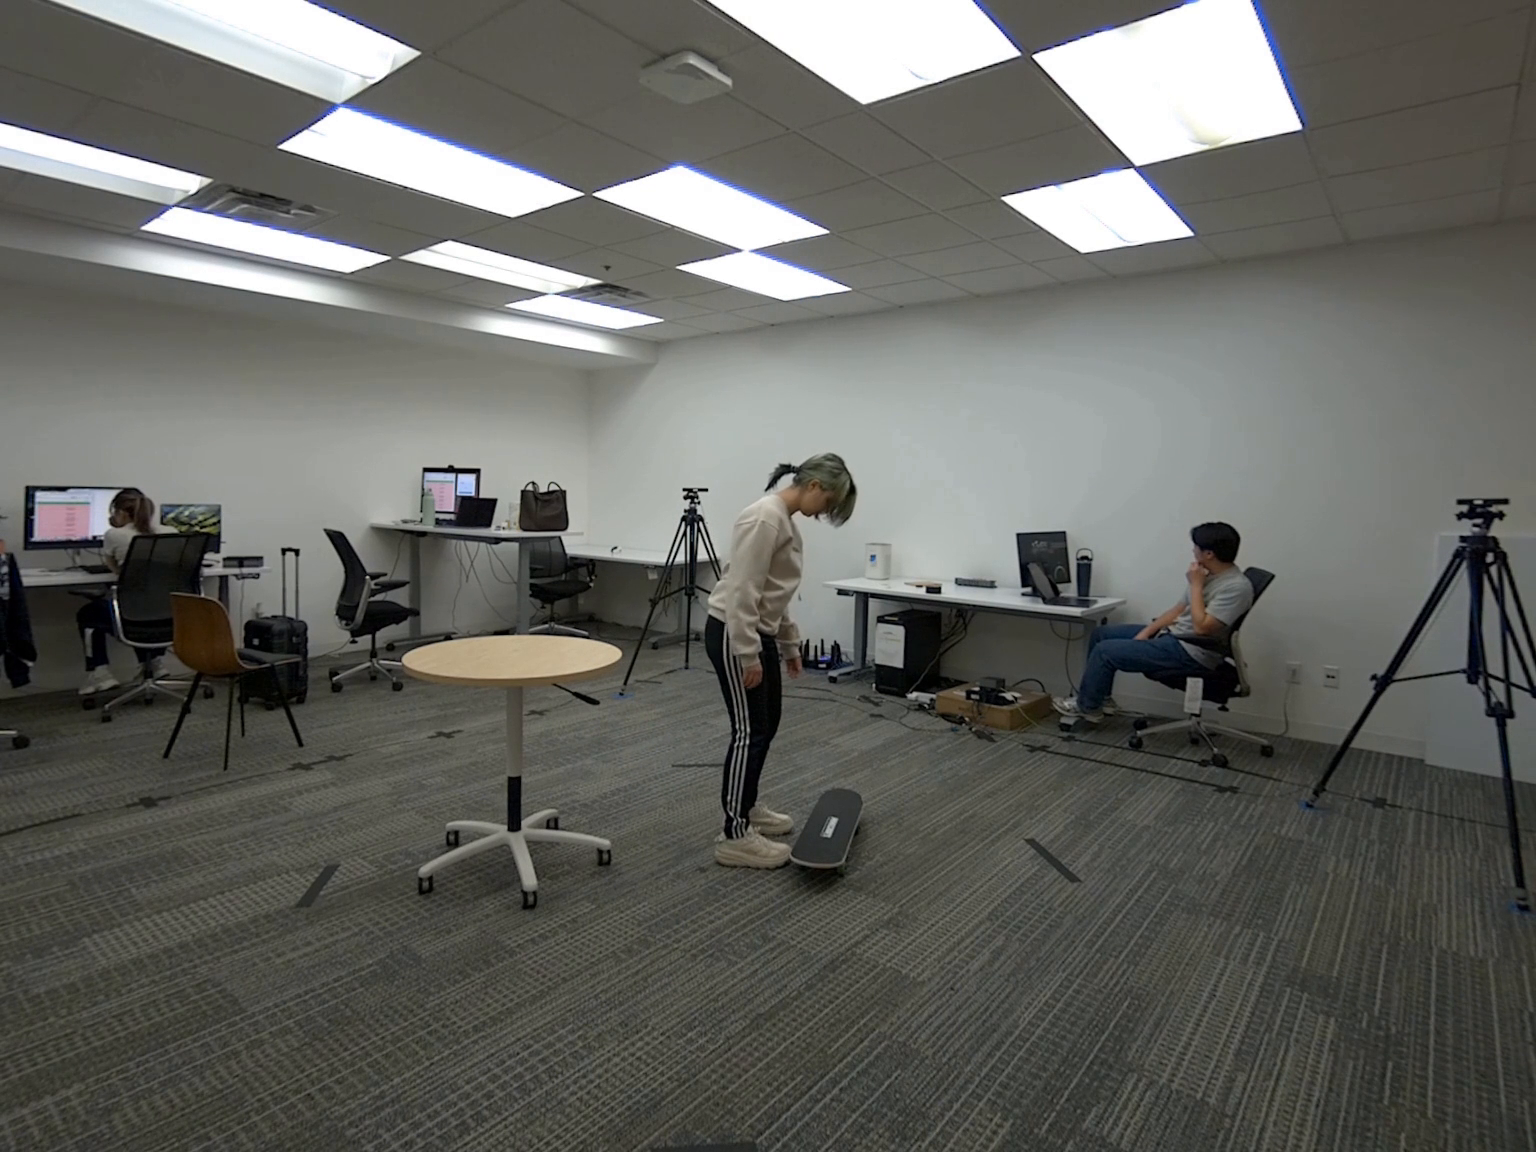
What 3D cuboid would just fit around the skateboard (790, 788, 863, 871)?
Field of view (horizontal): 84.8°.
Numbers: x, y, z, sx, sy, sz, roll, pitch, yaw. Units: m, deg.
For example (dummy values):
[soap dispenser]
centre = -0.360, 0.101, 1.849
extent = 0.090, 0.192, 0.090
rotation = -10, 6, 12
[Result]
[skateboard]
centre = 0.228, 0.996, 3.307
extent = 0.197, 0.110, 0.775
rotation = 3, 6, 14
